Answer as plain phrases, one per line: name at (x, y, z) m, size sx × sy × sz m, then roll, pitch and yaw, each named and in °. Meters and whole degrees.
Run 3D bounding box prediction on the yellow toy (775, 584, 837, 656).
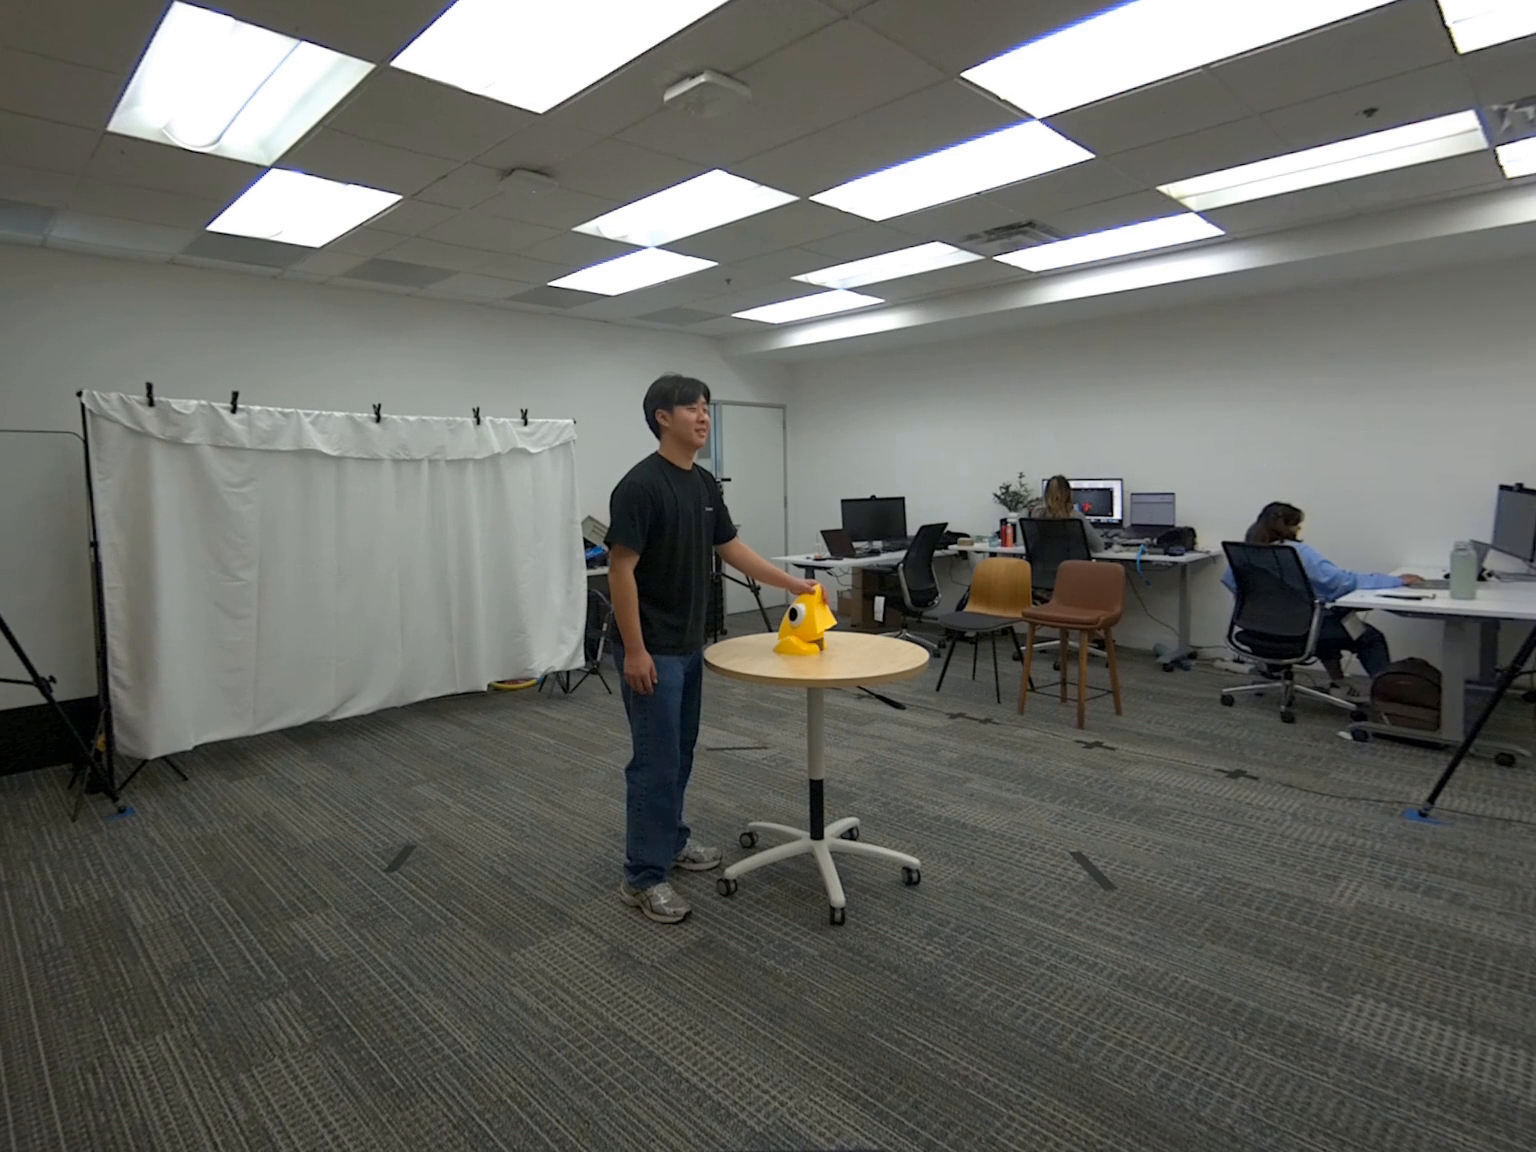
yellow toy at (0.120, 0.143, 2.982) m, size 0.197 × 0.230 × 0.201 m, roll 1°, pitch 5°, yaw 24°
